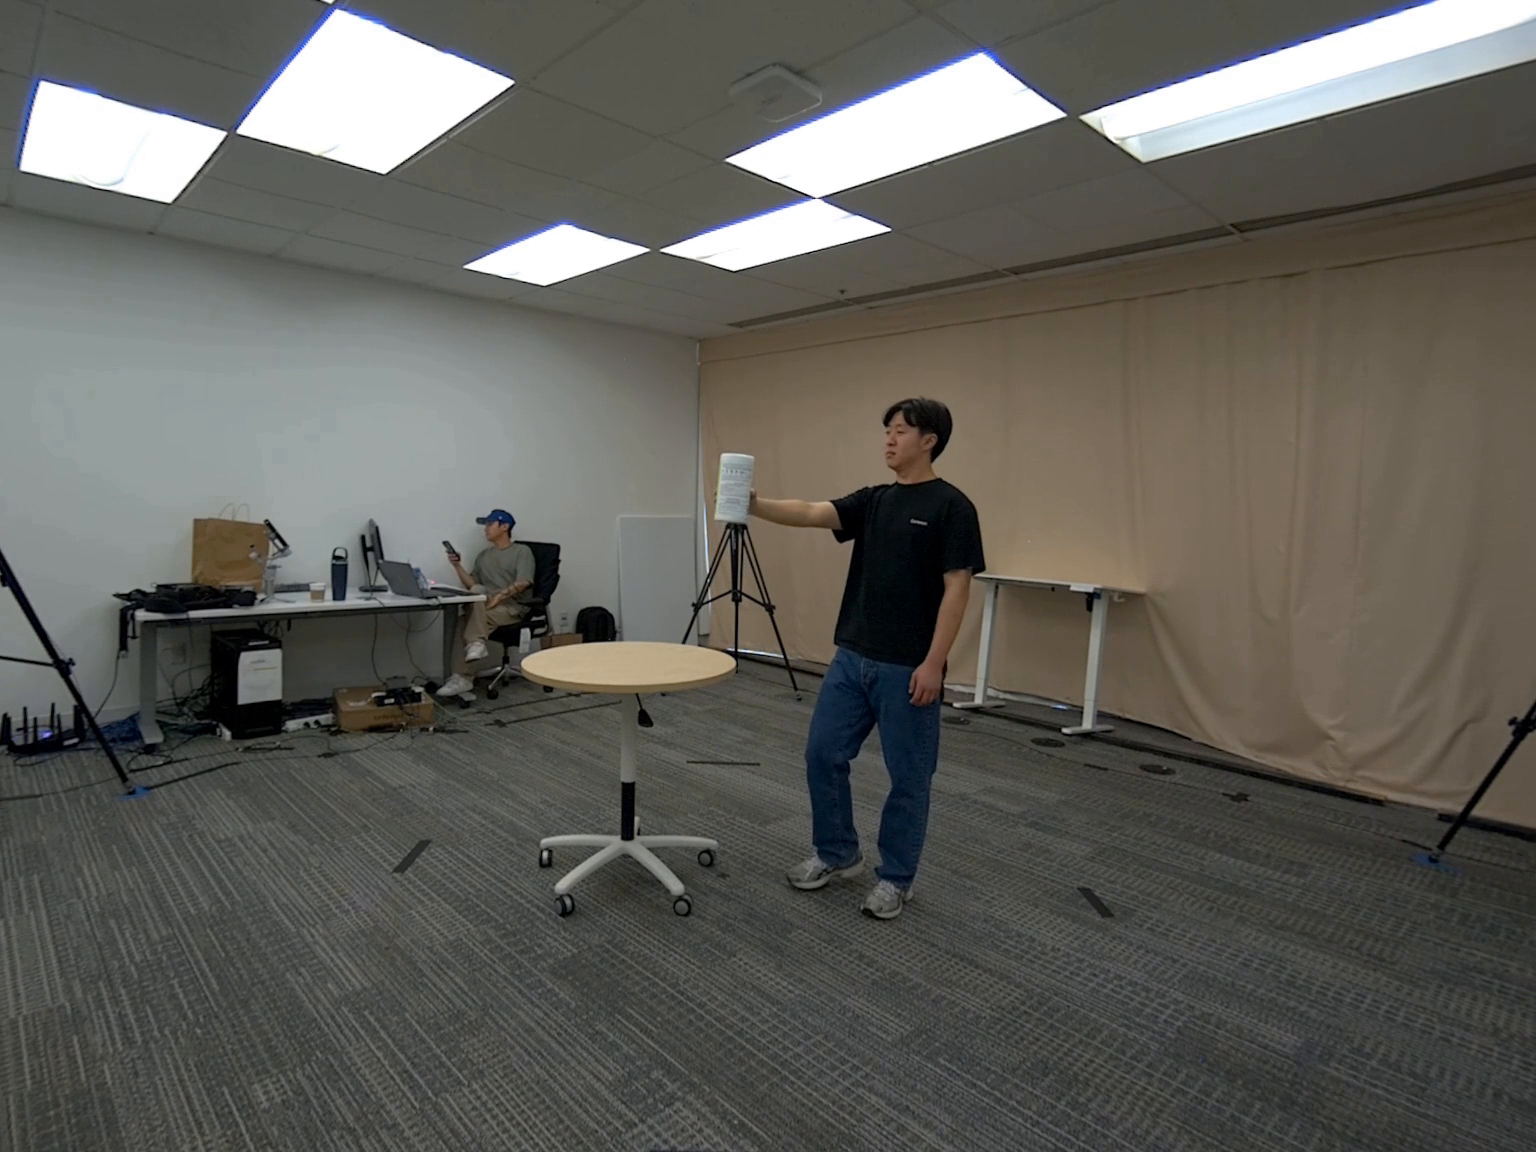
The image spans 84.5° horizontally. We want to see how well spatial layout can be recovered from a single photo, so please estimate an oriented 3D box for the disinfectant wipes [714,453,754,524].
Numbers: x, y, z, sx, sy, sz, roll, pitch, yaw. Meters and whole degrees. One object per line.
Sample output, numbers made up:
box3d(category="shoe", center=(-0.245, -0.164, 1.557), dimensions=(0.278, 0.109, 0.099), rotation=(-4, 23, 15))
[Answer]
box3d(category="disinfectant wipes", center=(-0.116, -0.274, 2.675), dimensions=(0.118, 0.217, 0.118), rotation=(3, 1, -1))
